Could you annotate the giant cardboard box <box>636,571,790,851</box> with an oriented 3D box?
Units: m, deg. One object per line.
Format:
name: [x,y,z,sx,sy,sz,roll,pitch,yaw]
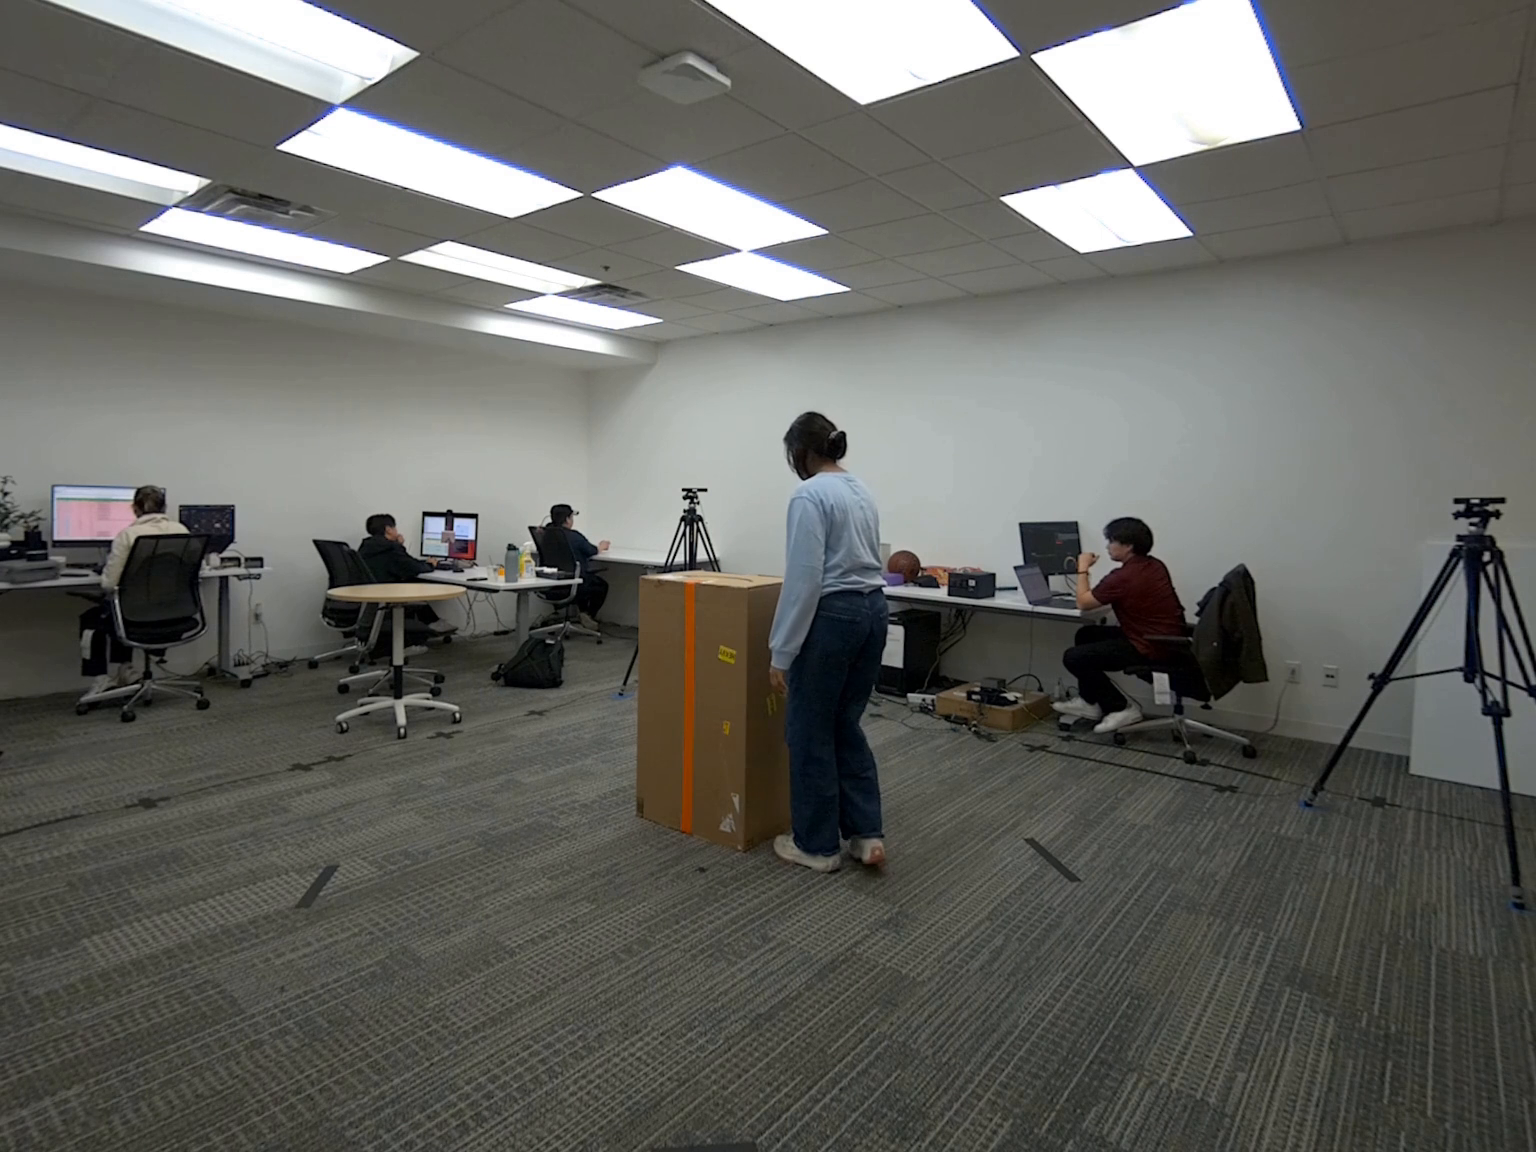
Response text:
giant cardboard box: [-0.212,0.516,3.576,0.603,1.024,0.434,4,5,38]
